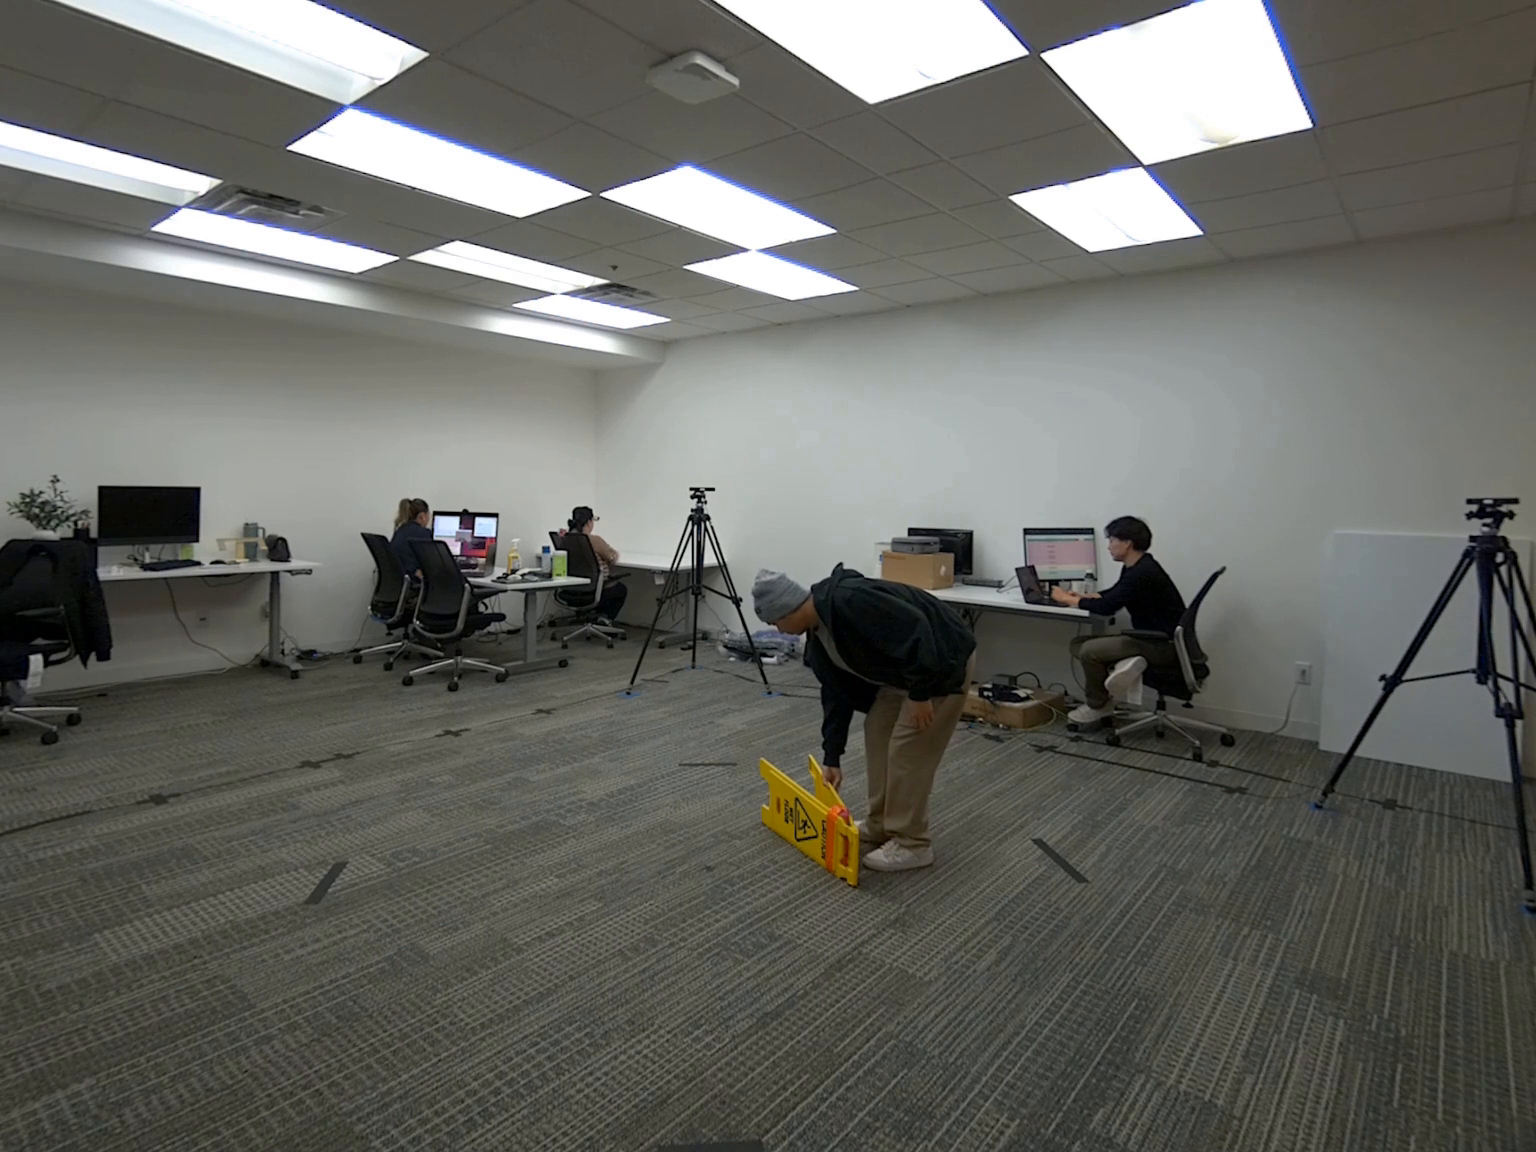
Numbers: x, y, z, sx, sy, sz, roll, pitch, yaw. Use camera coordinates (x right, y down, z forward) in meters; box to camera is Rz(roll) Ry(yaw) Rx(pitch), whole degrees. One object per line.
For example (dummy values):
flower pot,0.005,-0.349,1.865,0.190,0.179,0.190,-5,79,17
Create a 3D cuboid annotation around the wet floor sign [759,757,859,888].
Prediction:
wet floor sign,0.195,0.931,3.274,0.284,0.280,0.663,-2,9,-19
